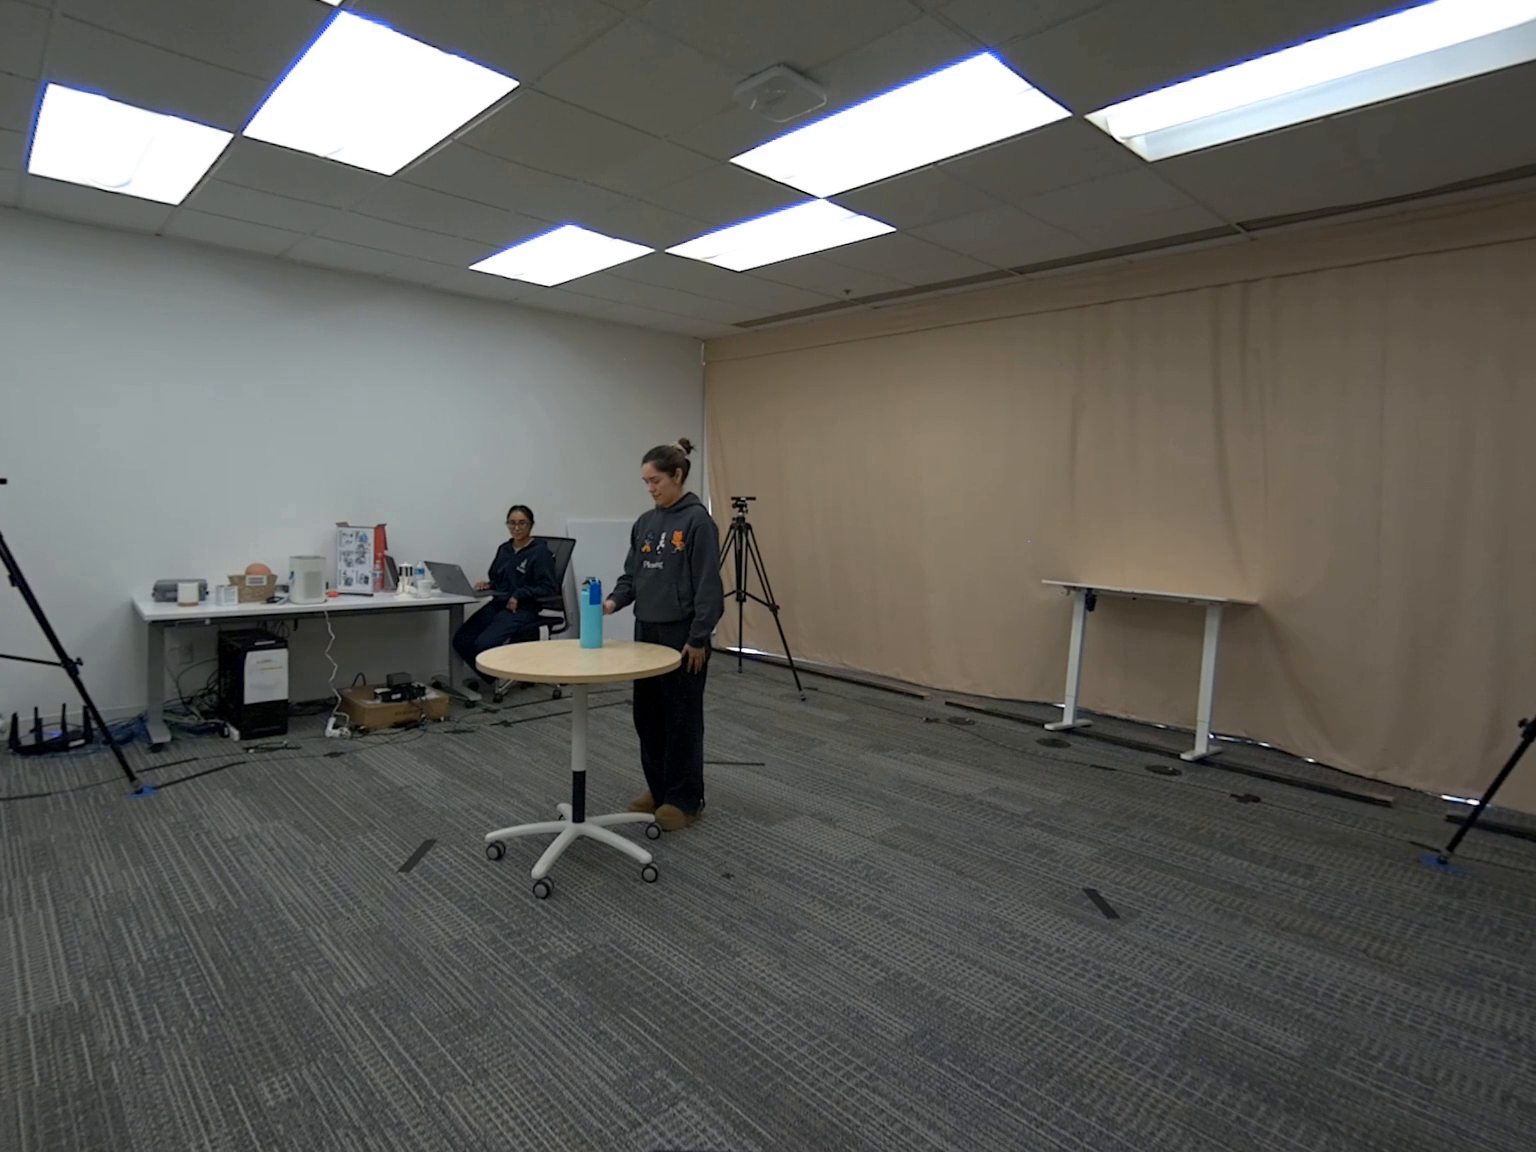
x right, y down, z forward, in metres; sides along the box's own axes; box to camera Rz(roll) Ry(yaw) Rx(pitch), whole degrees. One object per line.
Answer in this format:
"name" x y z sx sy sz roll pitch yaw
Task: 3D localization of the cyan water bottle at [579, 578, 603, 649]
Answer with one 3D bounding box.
"cyan water bottle" -0.727 0.146 3.407 0.092 0.283 0.092 2 2 -1
